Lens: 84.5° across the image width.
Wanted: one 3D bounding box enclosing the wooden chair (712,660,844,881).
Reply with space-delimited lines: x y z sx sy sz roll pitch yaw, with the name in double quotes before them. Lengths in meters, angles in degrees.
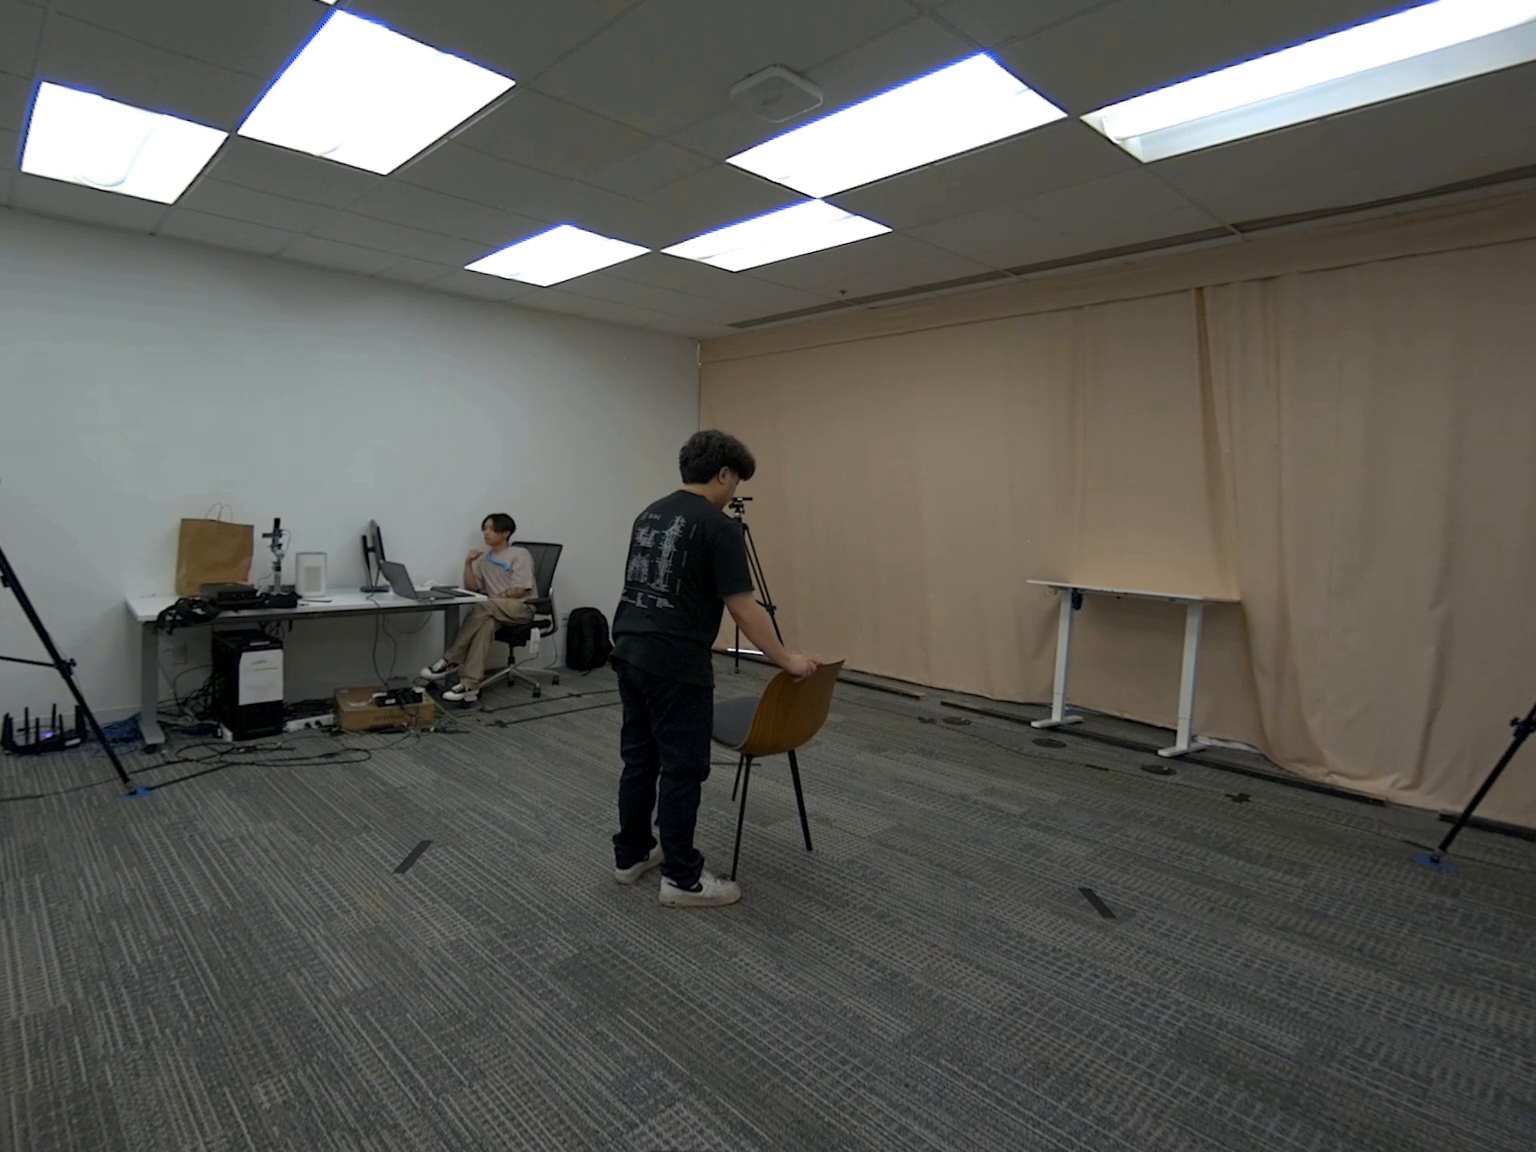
"wooden chair" -0.073 0.629 3.271 0.467 0.870 0.539 -2 21 -46
